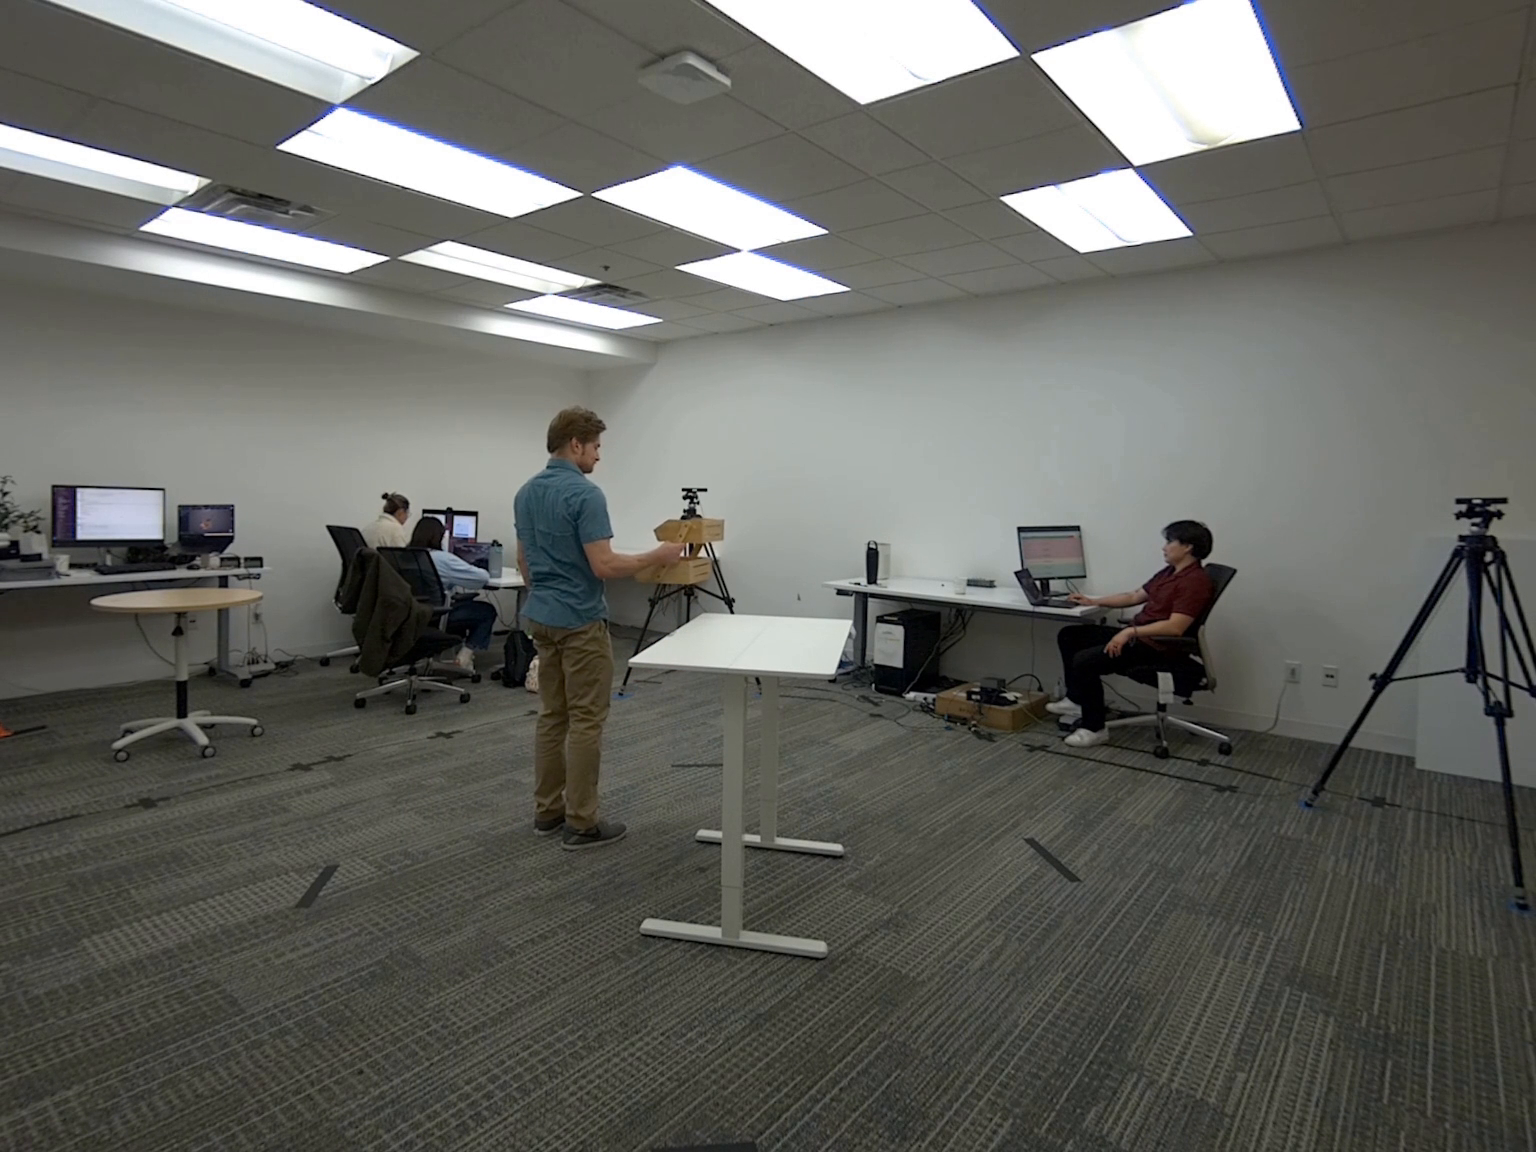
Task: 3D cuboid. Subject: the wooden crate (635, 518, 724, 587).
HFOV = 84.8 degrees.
[{"bbox_3d":[-0.397,-0.115,3.603,0.307,0.272,0.320,1,5,15],"label":"wooden crate"}]
